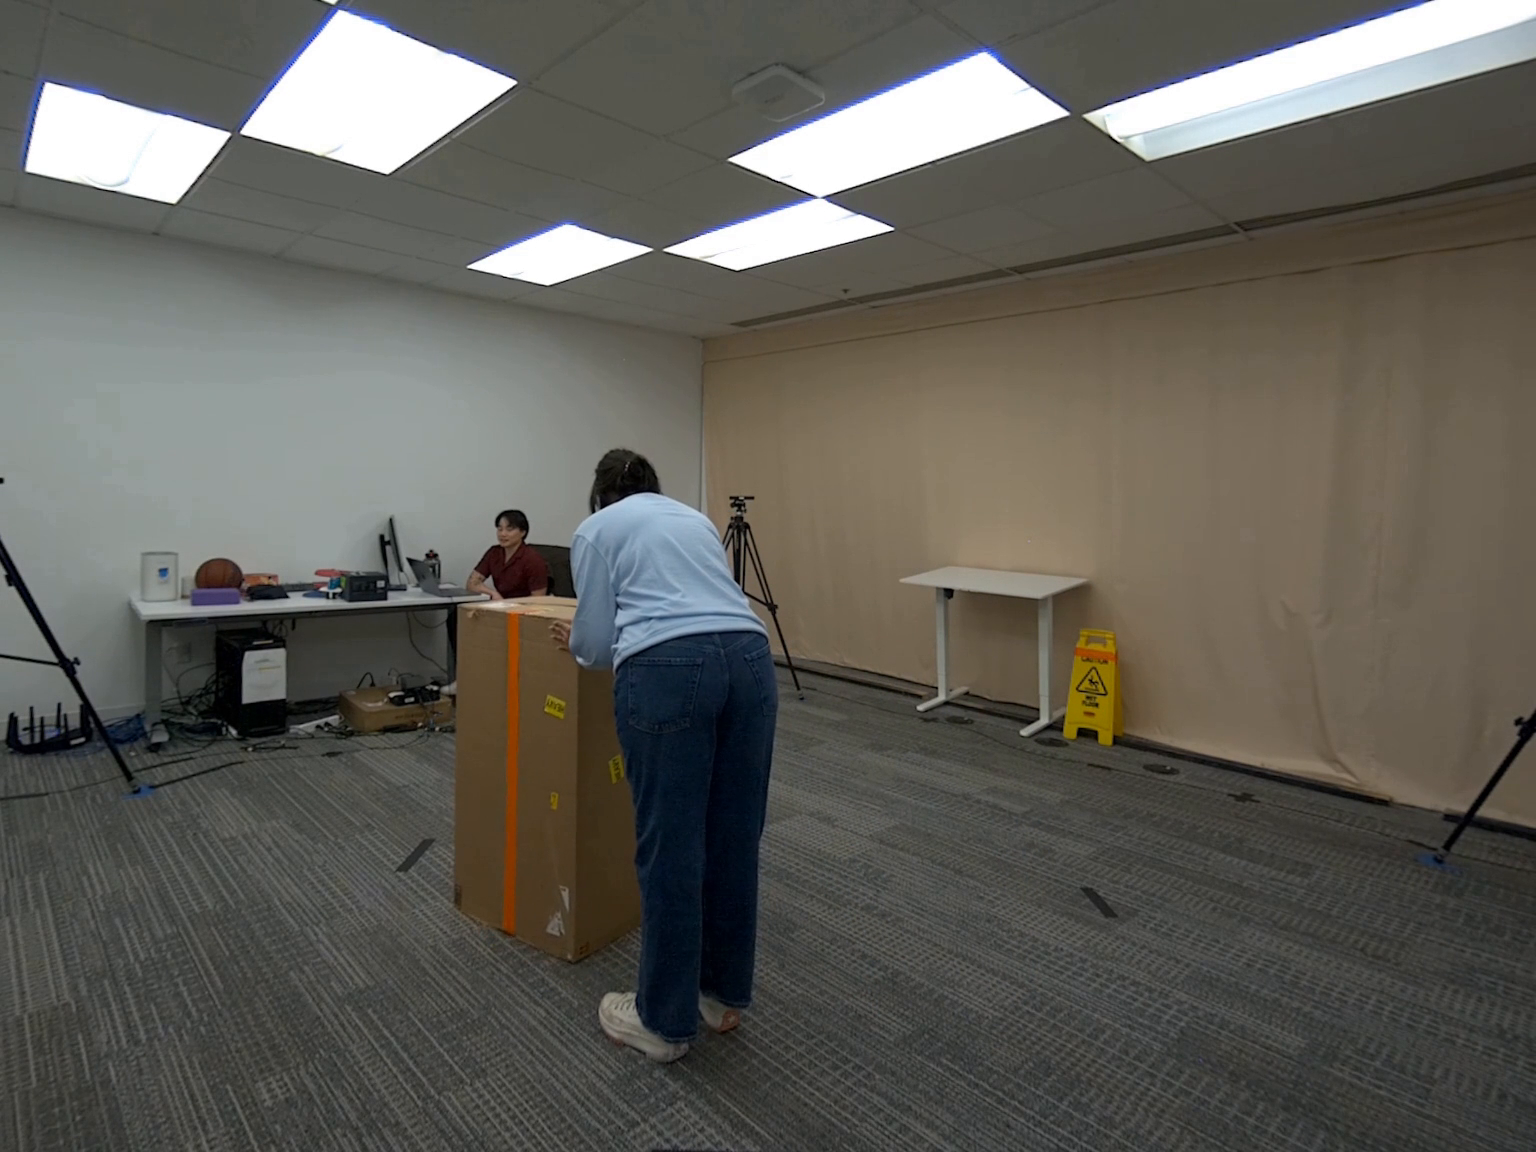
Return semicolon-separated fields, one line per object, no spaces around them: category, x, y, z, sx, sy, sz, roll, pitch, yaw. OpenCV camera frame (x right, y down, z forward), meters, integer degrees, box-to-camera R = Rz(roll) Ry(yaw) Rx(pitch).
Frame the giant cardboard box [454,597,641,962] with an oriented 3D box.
giant cardboard box;-0.699;0.615;2.800;0.591;1.024;0.417;3;3;35
